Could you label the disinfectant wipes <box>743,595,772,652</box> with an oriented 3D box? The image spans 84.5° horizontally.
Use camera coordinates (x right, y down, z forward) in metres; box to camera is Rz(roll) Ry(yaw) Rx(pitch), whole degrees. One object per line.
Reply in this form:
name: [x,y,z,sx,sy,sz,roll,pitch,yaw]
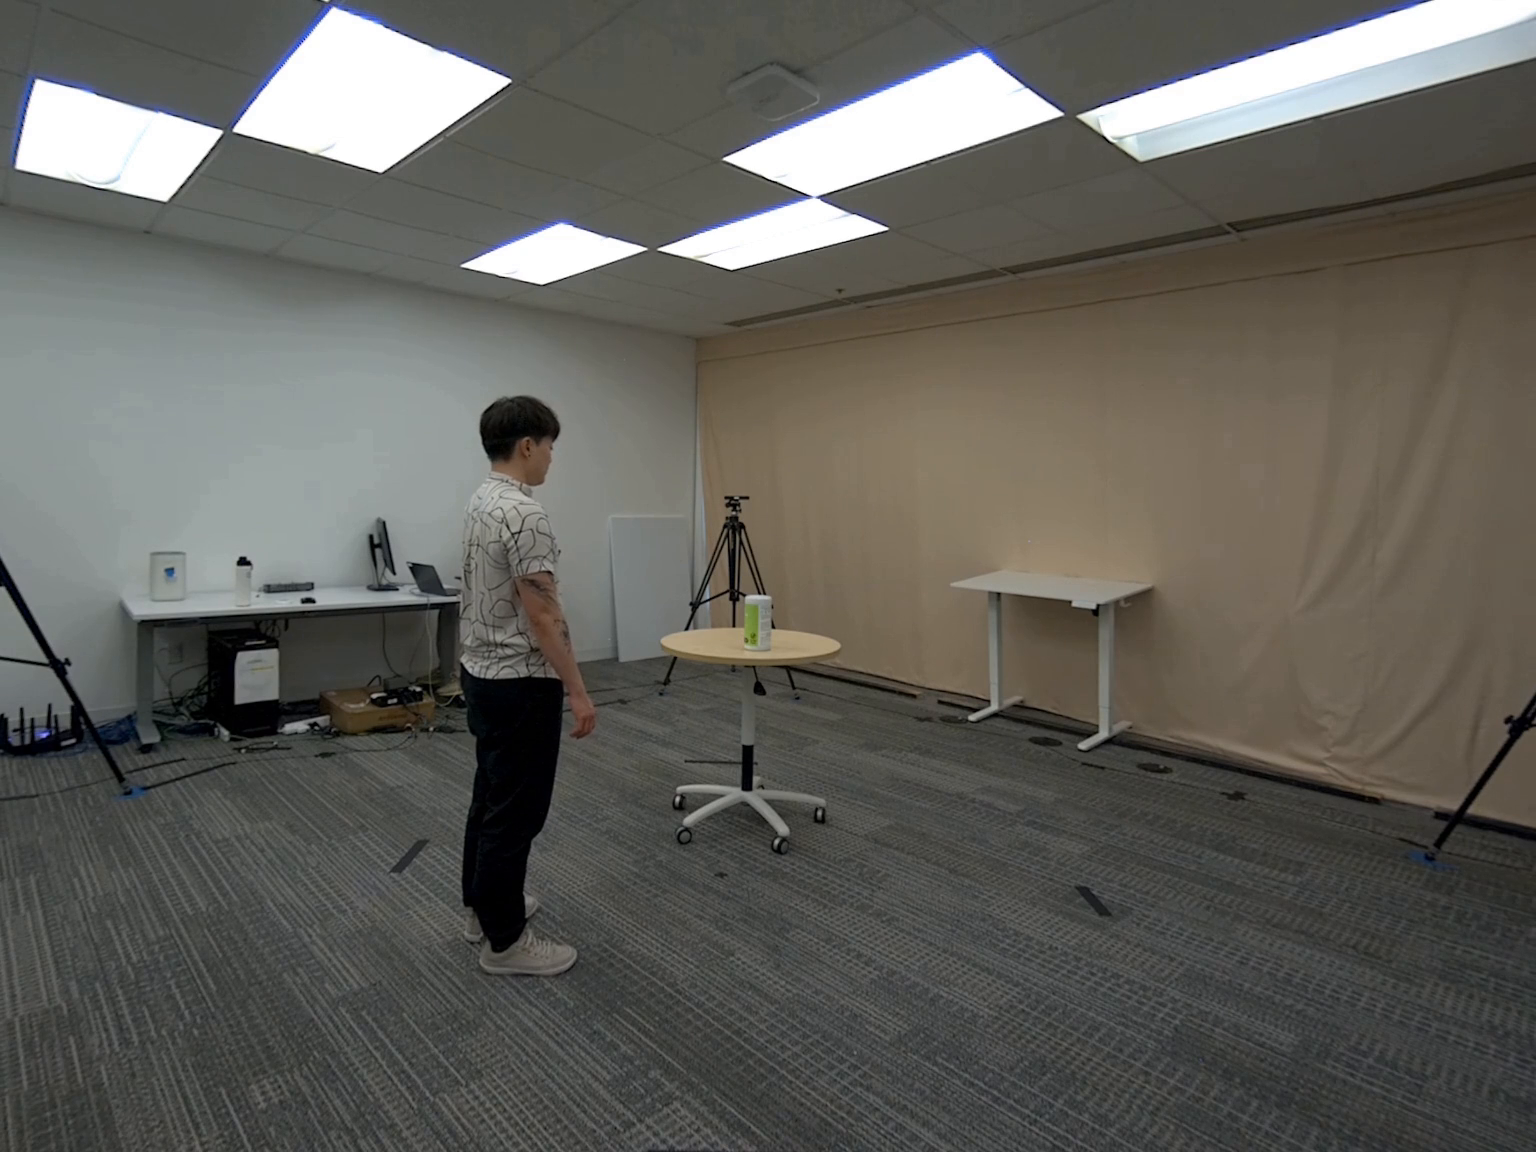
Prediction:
disinfectant wipes: [-0.046,0.192,3.414,0.118,0.217,0.118,1,4,-1]
